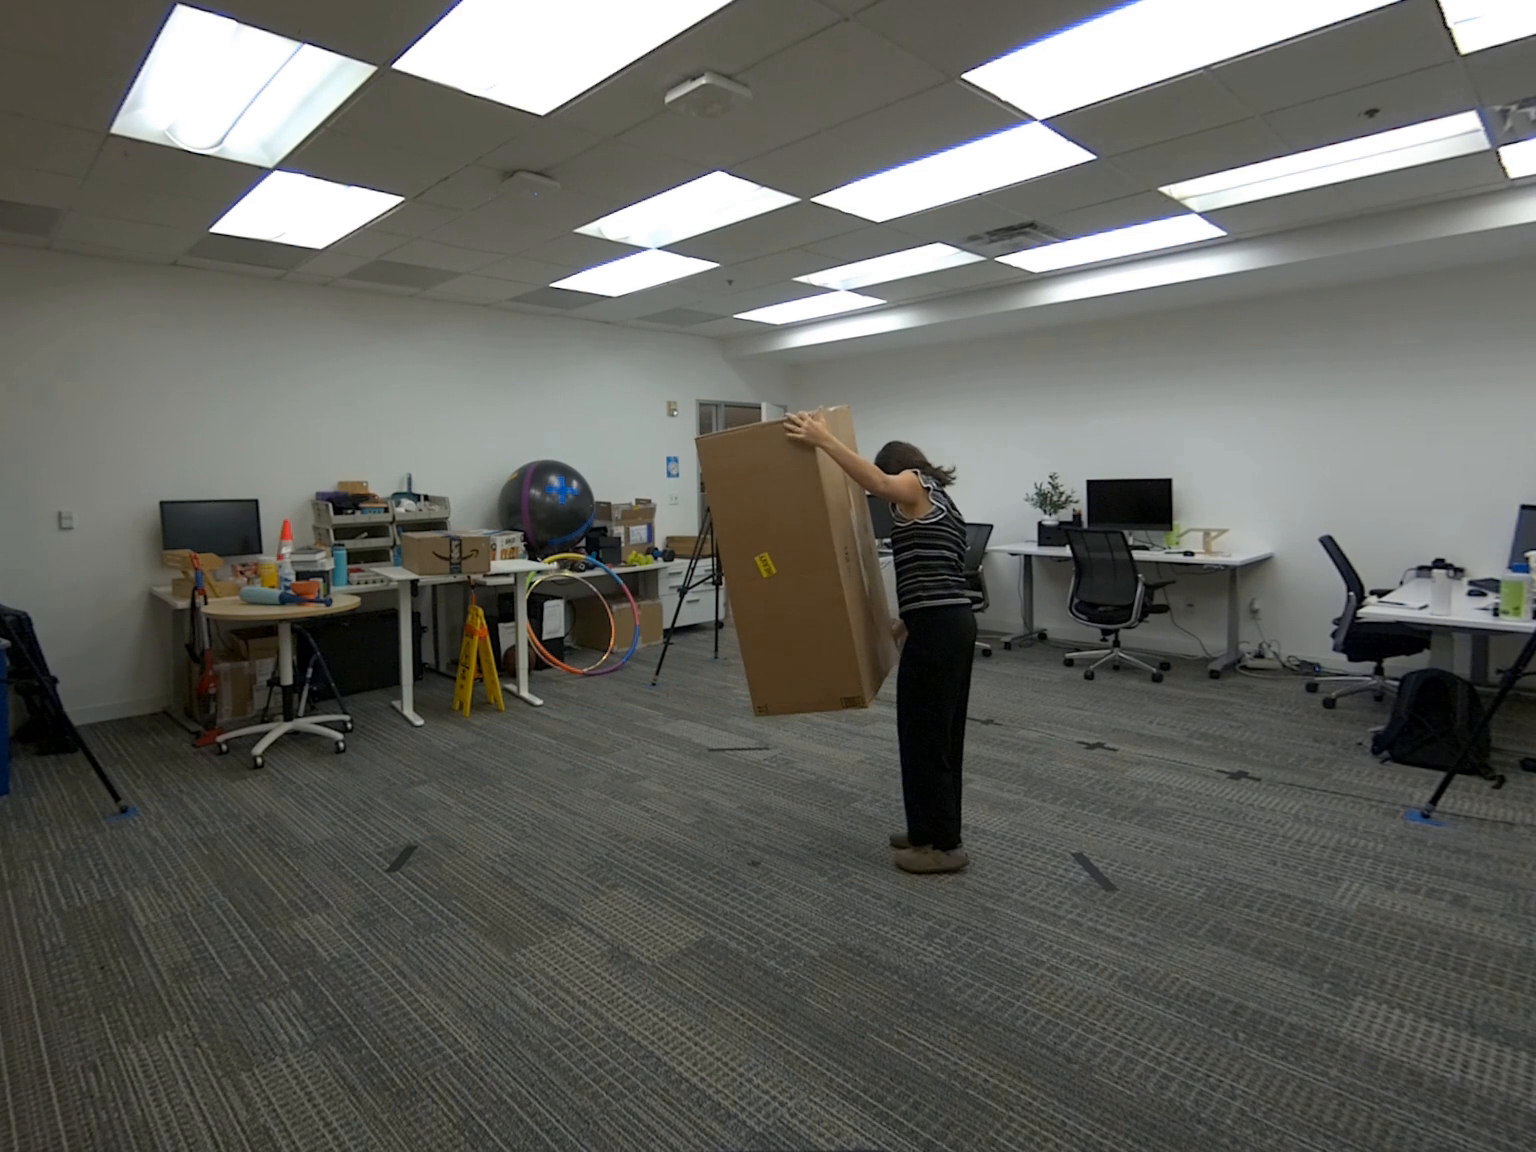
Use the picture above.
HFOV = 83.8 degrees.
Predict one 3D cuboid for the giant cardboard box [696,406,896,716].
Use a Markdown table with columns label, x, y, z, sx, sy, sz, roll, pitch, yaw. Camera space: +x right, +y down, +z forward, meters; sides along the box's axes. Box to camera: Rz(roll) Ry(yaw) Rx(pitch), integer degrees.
| label | x | y | z | sx | sy | sz | roll | pitch | yaw |
| --- | --- | --- | --- | --- | --- | --- | --- | --- | --- |
| giant cardboard box | 0.126 | -0.073 | 3.181 | 0.433 | 1.017 | 0.573 | -9 | 9 | 22 |
